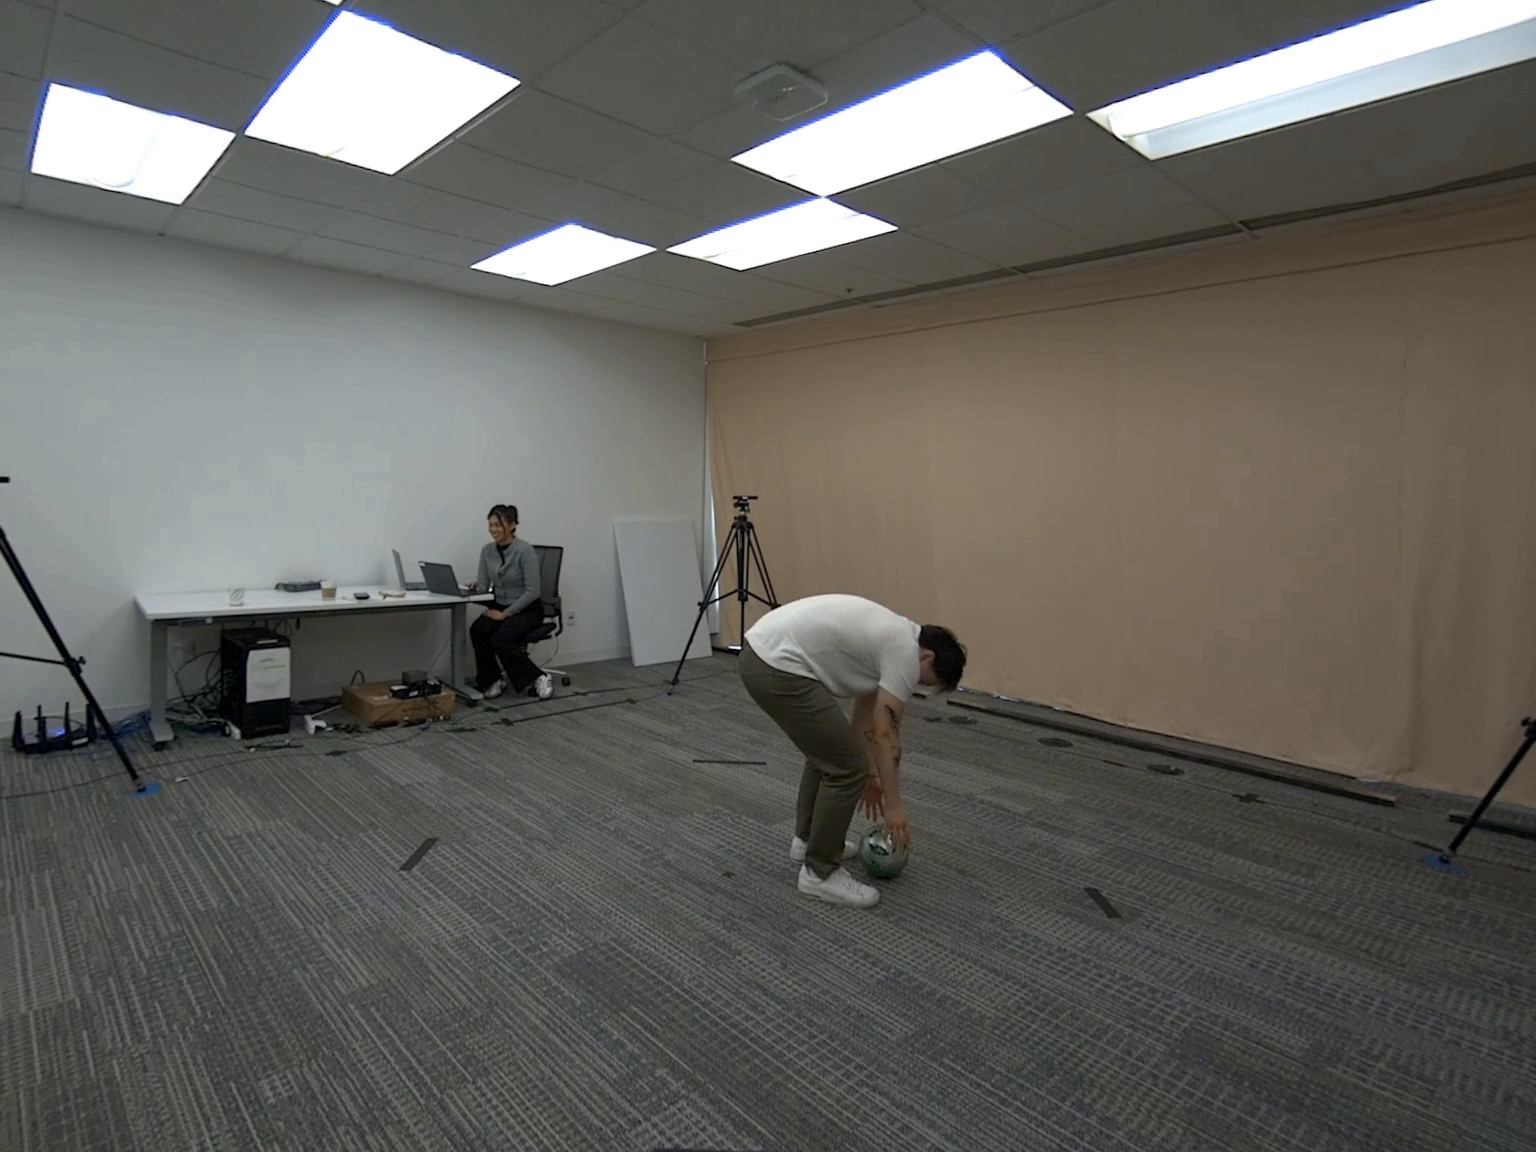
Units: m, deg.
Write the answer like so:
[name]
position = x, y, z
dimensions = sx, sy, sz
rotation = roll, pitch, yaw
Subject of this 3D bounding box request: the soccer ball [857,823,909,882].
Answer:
[soccer ball]
position = 0.421, 1.018, 3.121
dimensions = 0.187, 0.187, 0.188
rotation = 1, 4, -1
